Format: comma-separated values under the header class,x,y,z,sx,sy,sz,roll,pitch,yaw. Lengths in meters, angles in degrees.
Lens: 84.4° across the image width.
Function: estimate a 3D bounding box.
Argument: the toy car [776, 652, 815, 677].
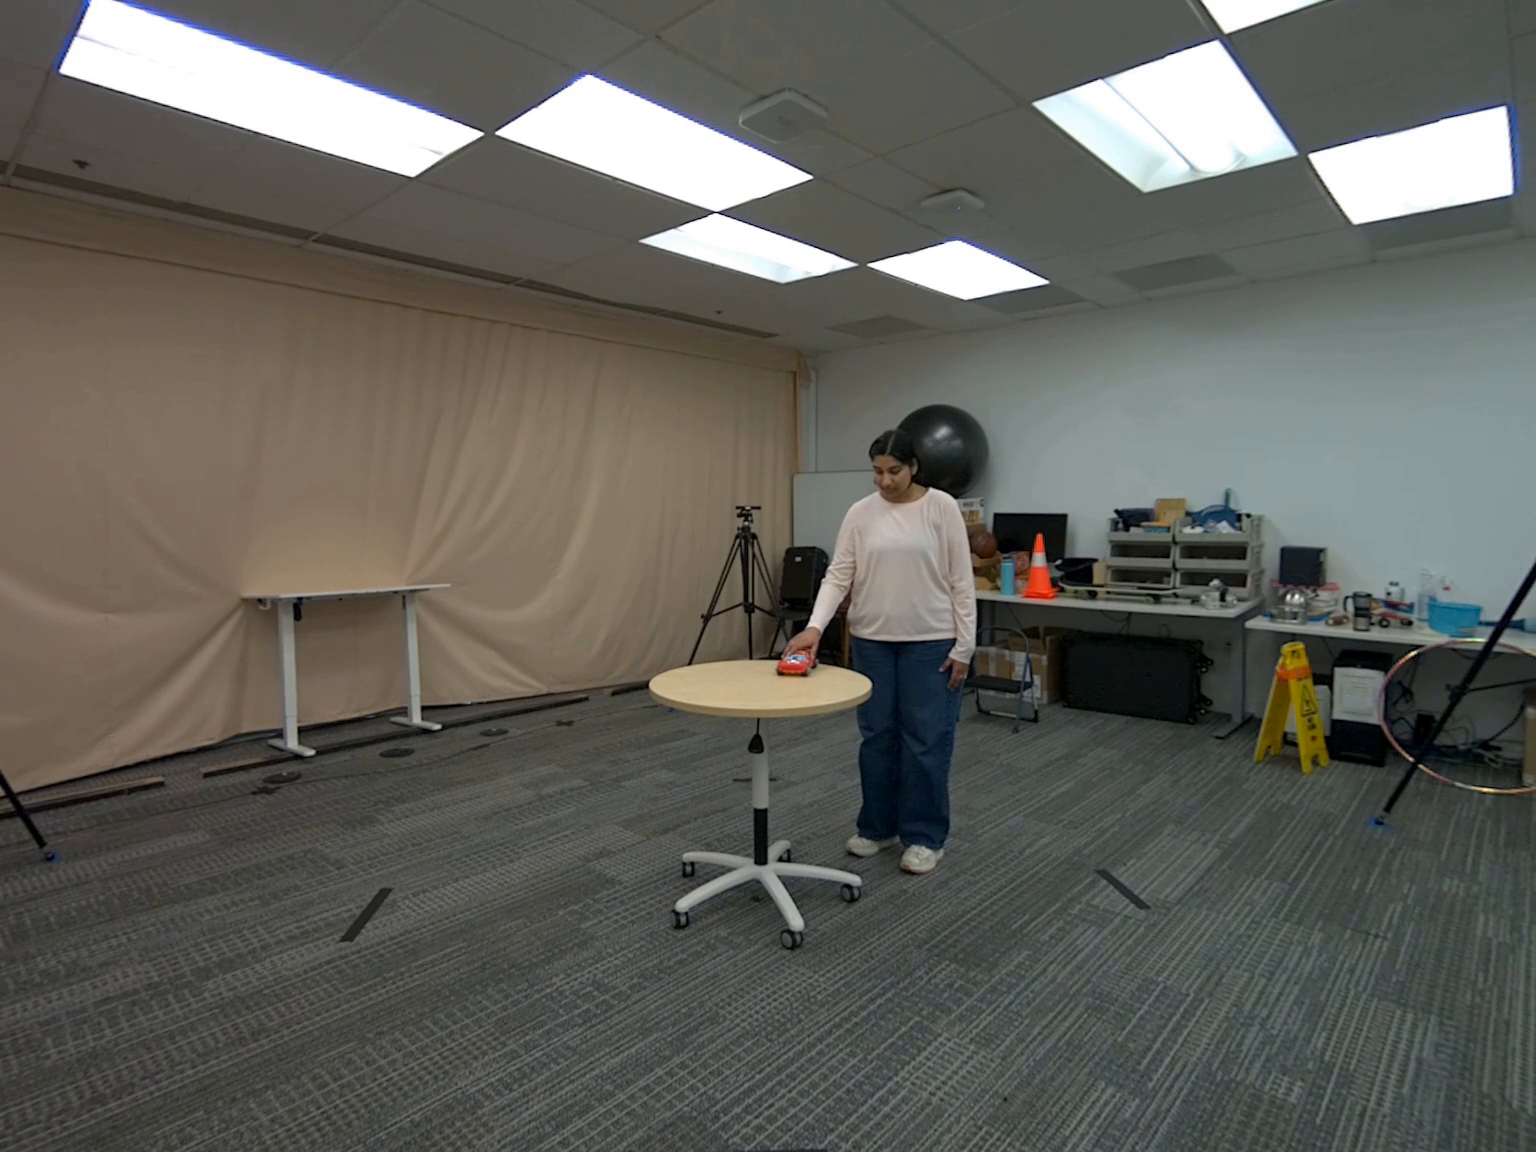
class,x,y,z,sx,sy,sz,roll,pitch,yaw
toy car,0.113,0.318,3.089,0.132,0.082,0.254,-1,15,11
